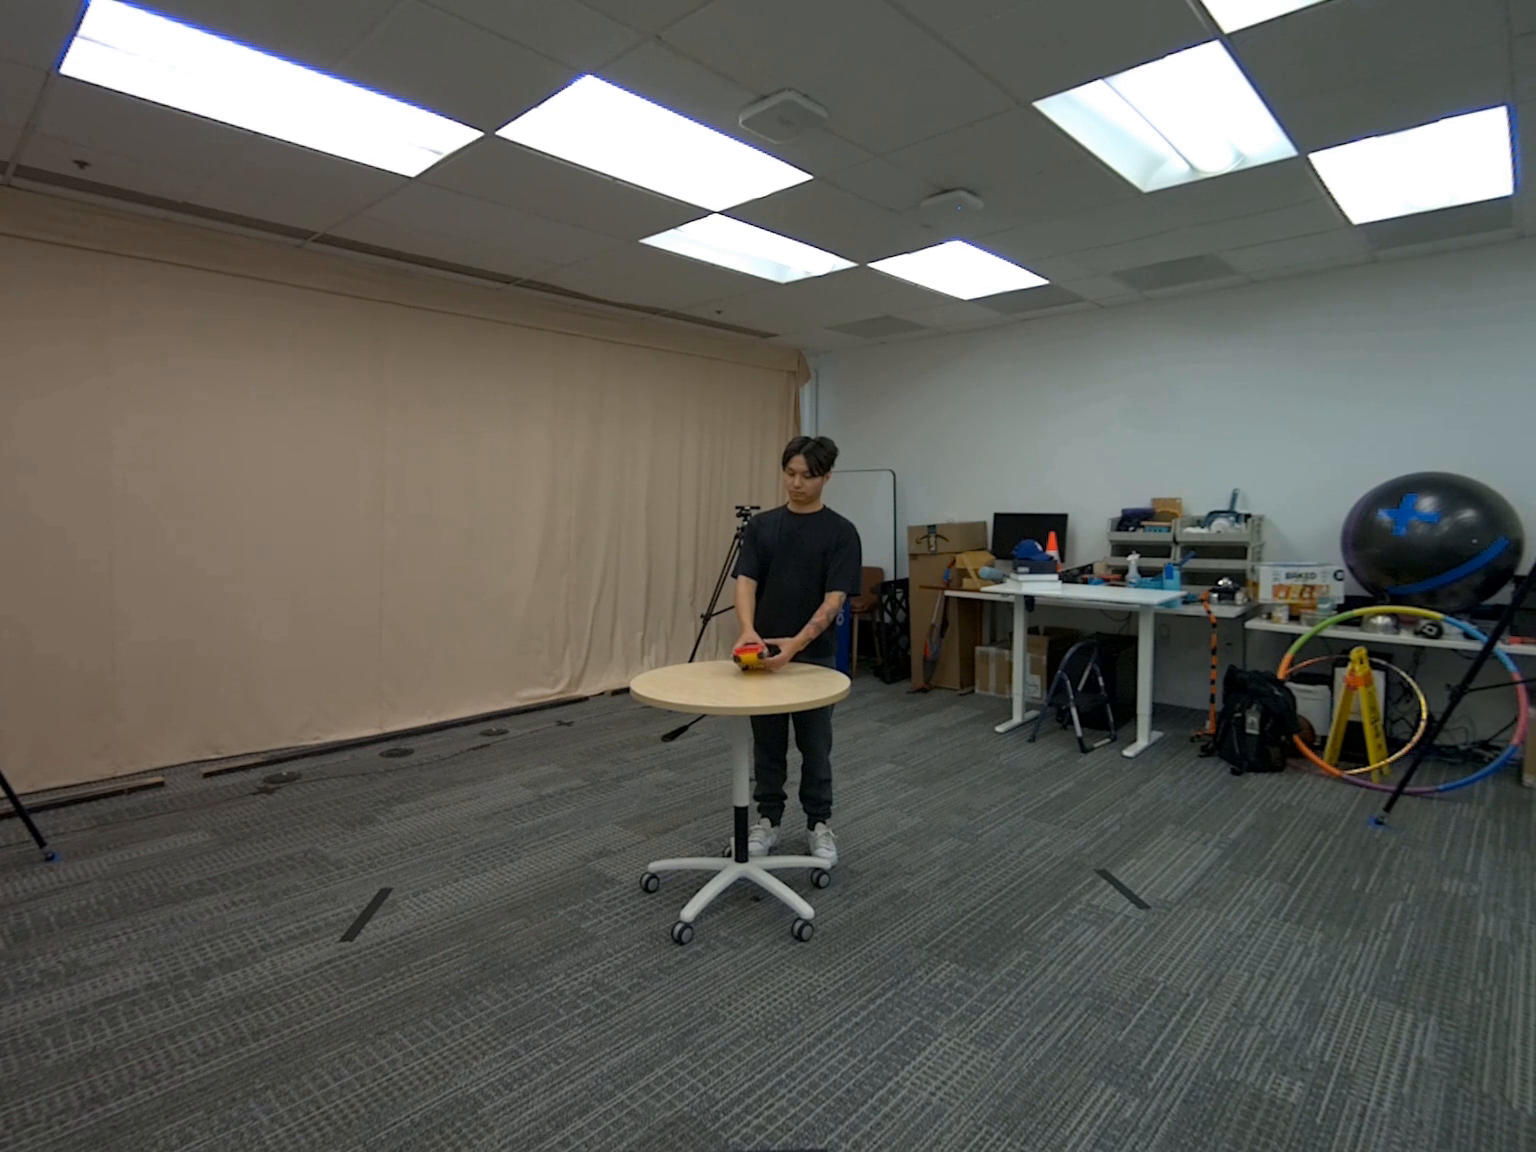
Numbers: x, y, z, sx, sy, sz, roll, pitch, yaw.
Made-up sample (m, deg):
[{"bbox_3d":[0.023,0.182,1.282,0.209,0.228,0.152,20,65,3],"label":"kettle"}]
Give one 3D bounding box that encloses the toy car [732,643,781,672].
[{"bbox_3d":[-0.057,0.297,3.070,0.131,0.083,0.251,-8,-5,9],"label":"toy car"}]
